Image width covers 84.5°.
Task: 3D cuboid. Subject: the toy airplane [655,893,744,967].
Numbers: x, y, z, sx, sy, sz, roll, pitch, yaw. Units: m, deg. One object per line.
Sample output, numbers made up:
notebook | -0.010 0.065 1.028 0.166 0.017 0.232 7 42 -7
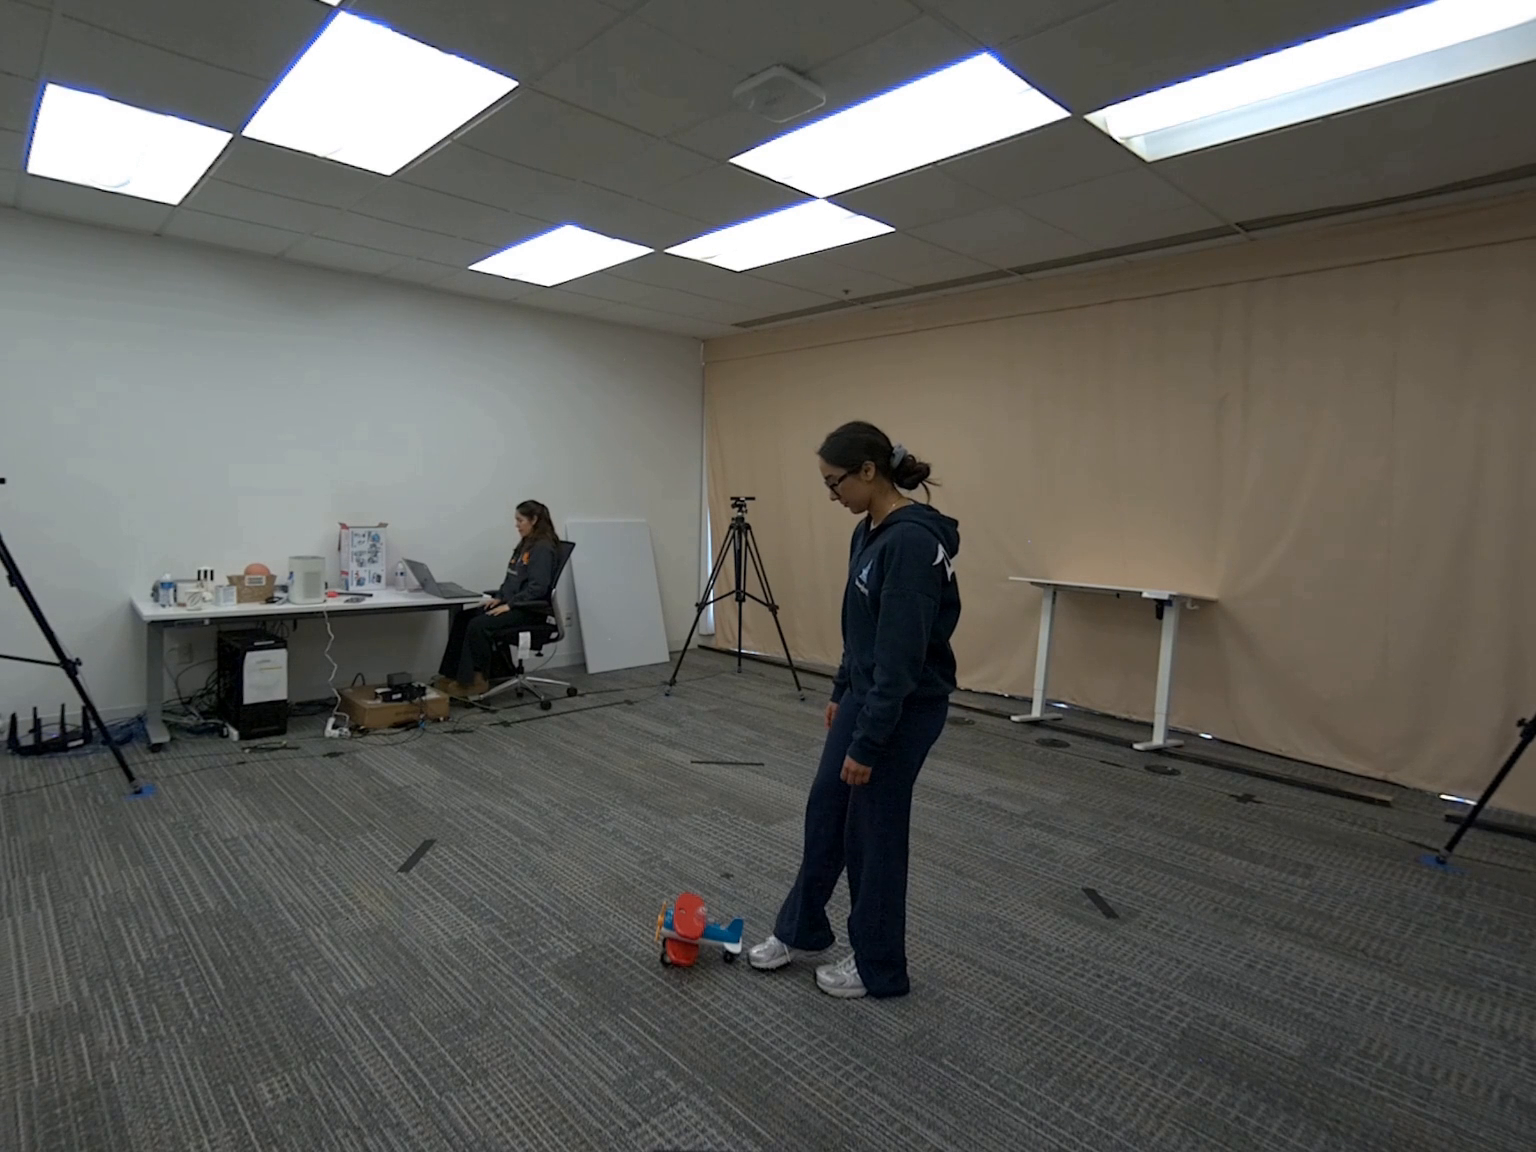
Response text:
toy airplane | -0.215 1.077 2.552 0.254 0.156 0.257 -3 6 -28
